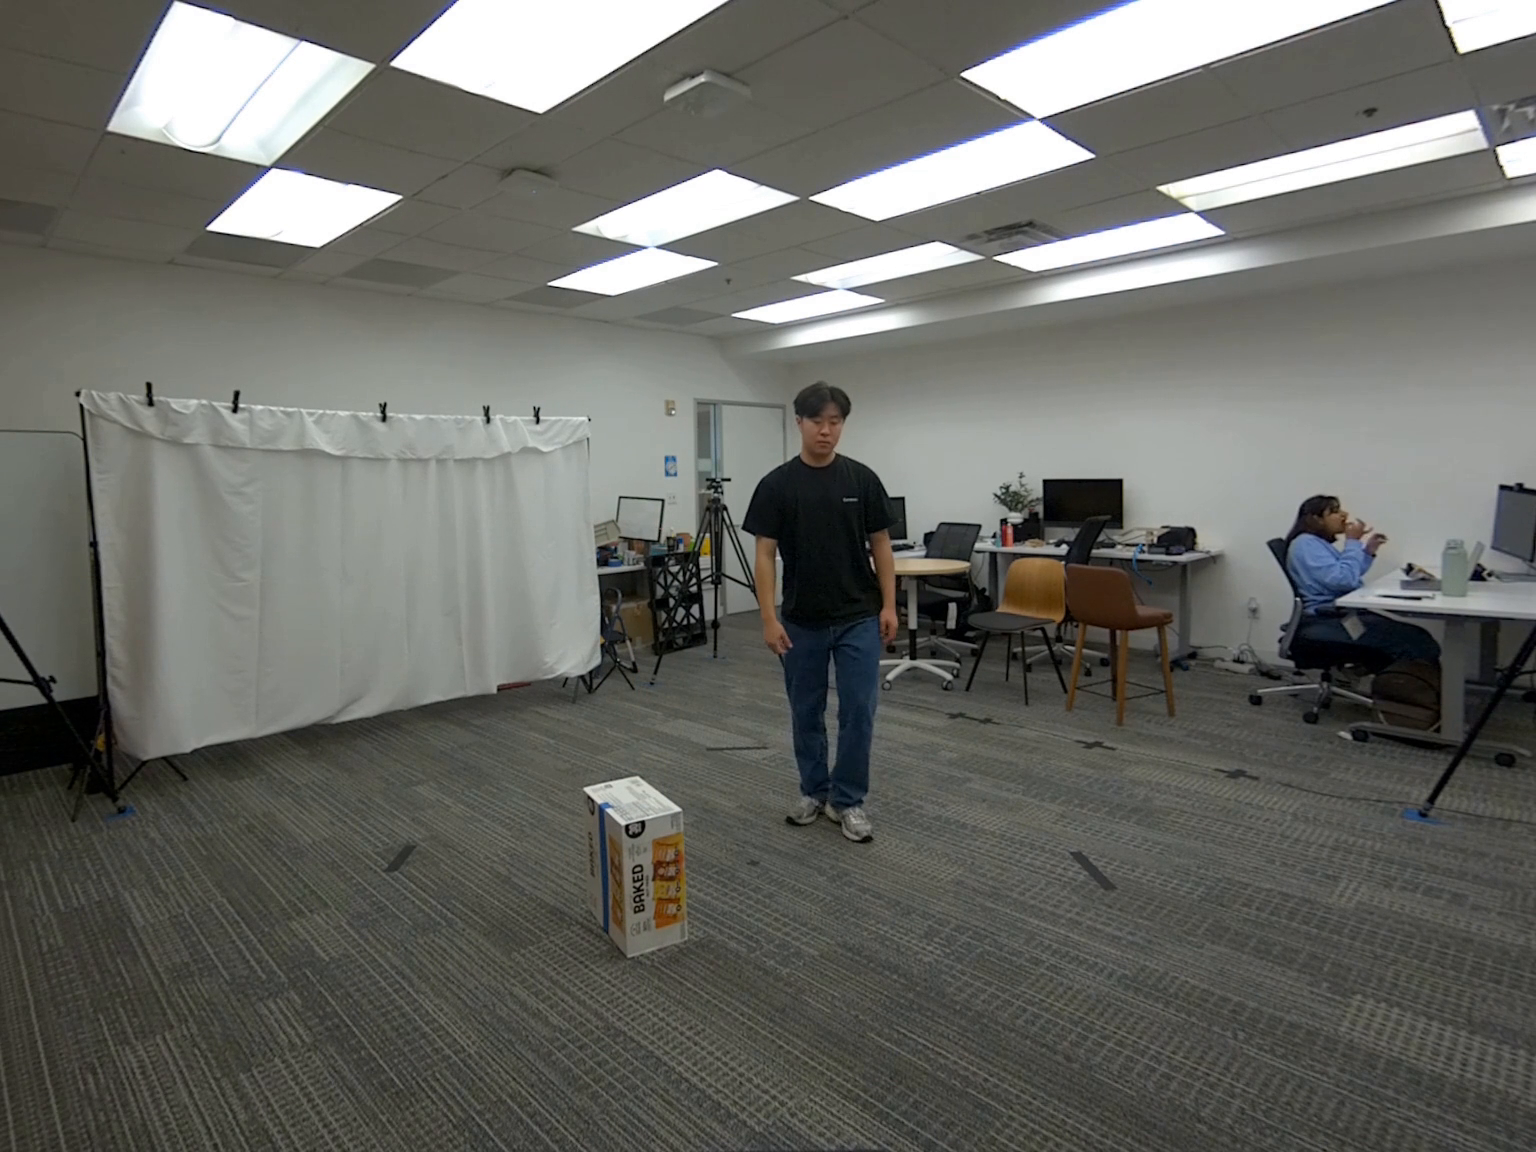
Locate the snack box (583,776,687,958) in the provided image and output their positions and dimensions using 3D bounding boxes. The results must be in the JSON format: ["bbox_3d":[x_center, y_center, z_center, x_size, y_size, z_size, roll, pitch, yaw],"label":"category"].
[{"bbox_3d":[-0.421,0.892,2.681,0.201,0.403,0.350,-4,6,-30],"label":"snack box"}]
